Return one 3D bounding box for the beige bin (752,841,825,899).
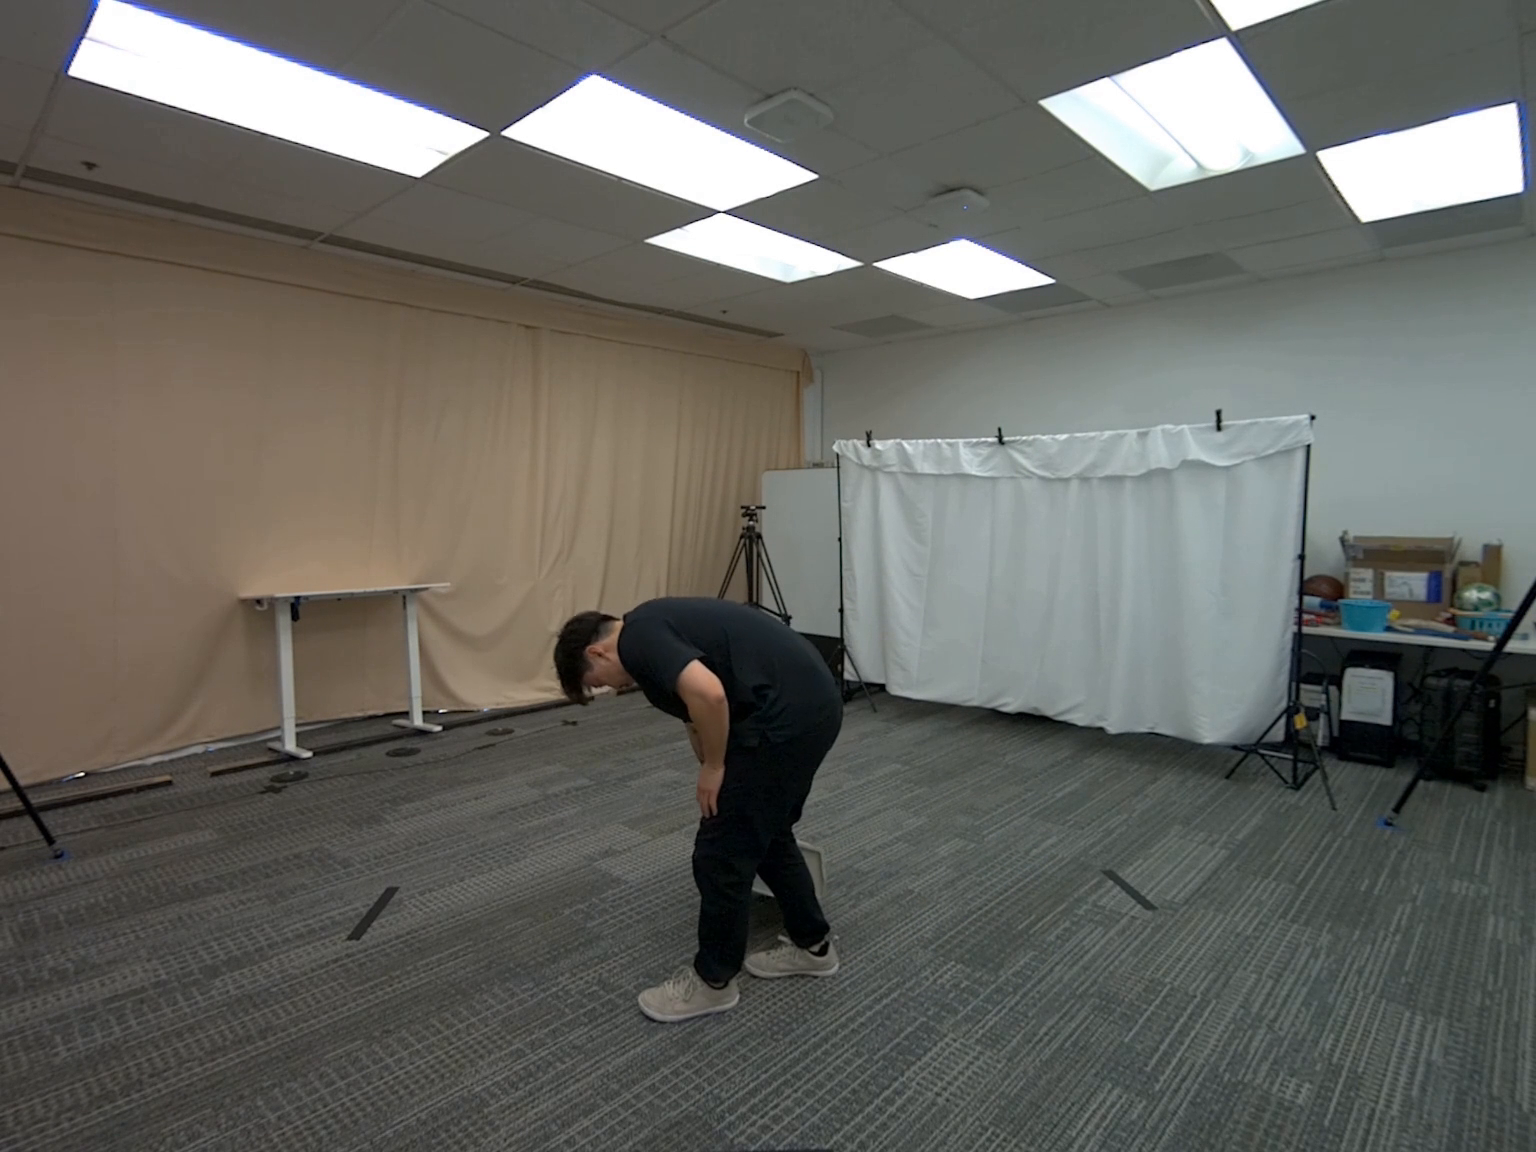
[{"bbox_3d":[-0.002,0.966,2.867,0.378,0.190,0.419,10,-15,0],"label":"beige bin"}]
